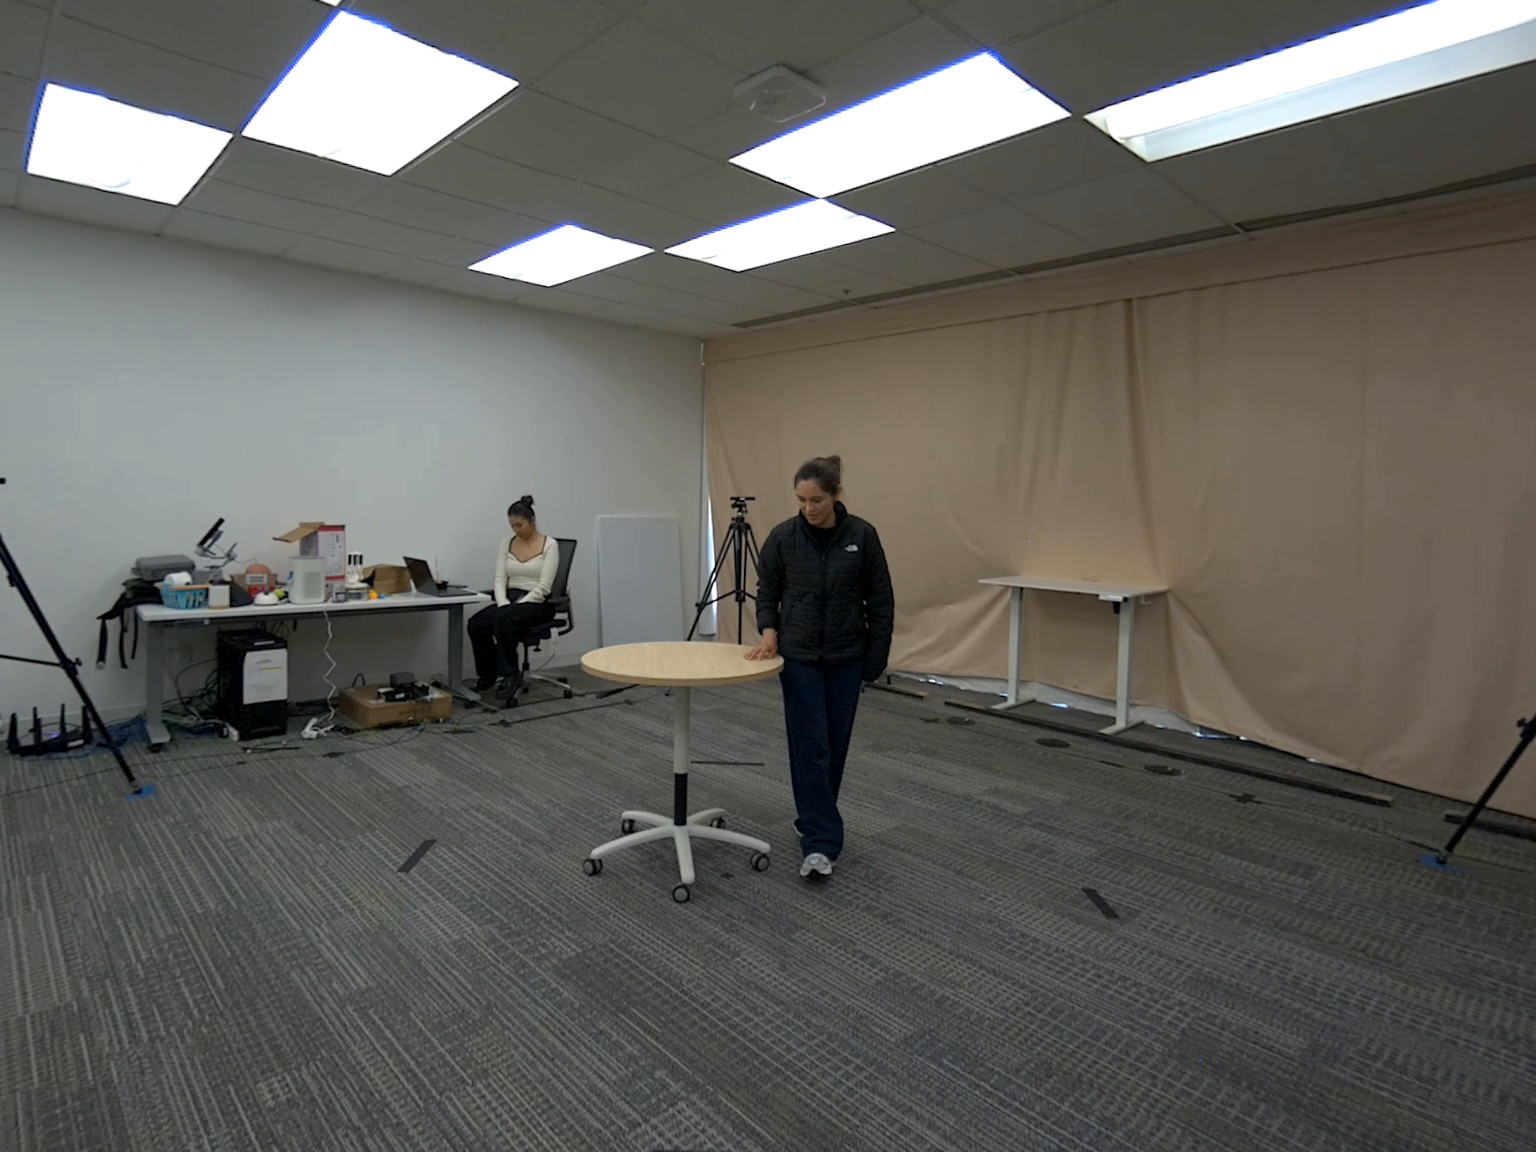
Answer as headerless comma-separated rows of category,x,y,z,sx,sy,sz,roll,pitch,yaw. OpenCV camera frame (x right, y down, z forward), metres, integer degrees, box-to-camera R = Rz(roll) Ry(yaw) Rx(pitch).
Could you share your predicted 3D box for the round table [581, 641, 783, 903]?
round table,-0.327,0.701,3.208,0.784,0.784,0.787,1,4,-1
